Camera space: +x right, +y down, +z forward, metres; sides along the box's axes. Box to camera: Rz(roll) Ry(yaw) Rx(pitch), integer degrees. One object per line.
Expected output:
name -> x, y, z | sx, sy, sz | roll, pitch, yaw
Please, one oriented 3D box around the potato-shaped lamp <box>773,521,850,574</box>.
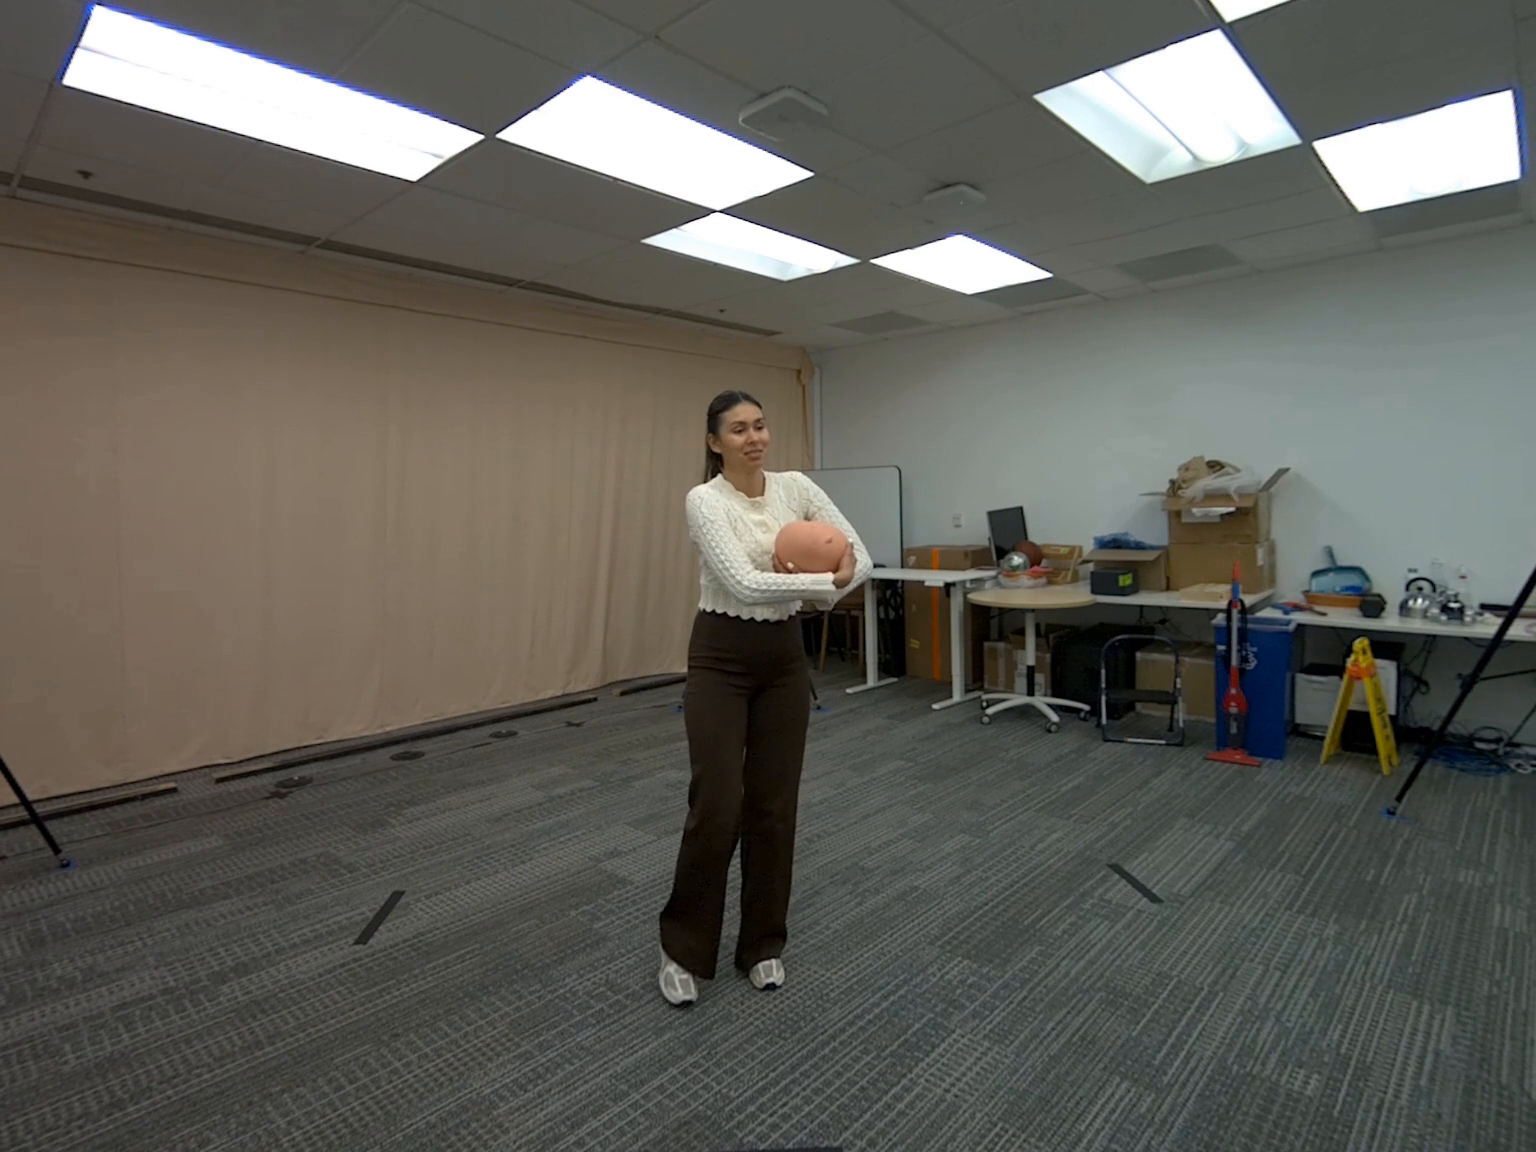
potato-shaped lamp -> 0.104, -0.066, 2.284 | 0.191, 0.171, 0.170 | 24, 9, -37
